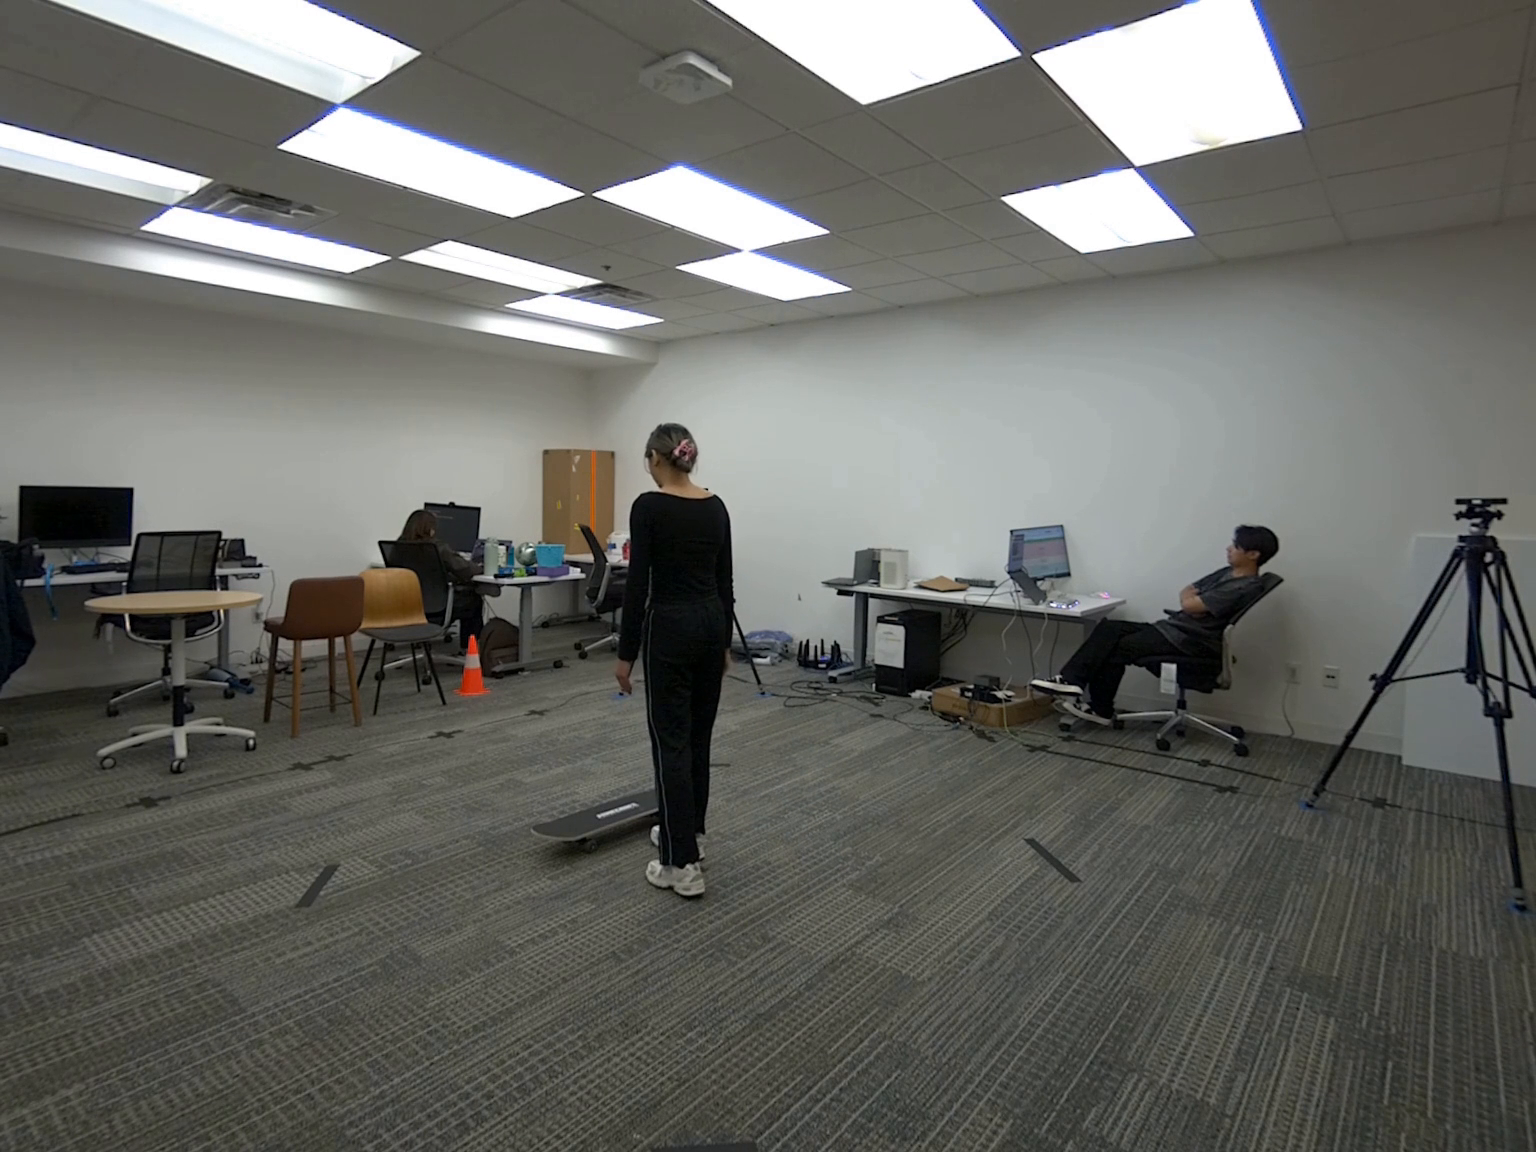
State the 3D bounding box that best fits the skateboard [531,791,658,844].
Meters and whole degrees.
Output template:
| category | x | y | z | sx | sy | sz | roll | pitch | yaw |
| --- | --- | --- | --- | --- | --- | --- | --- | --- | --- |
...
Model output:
| category | x | y | z | sx | sy | sz | roll | pitch | yaw |
| --- | --- | --- | --- | --- | --- | --- | --- | --- | --- |
| skateboard | -0.621 | 0.982 | 3.444 | 0.200 | 0.110 | 0.762 | 4 | 6 | 42 |
